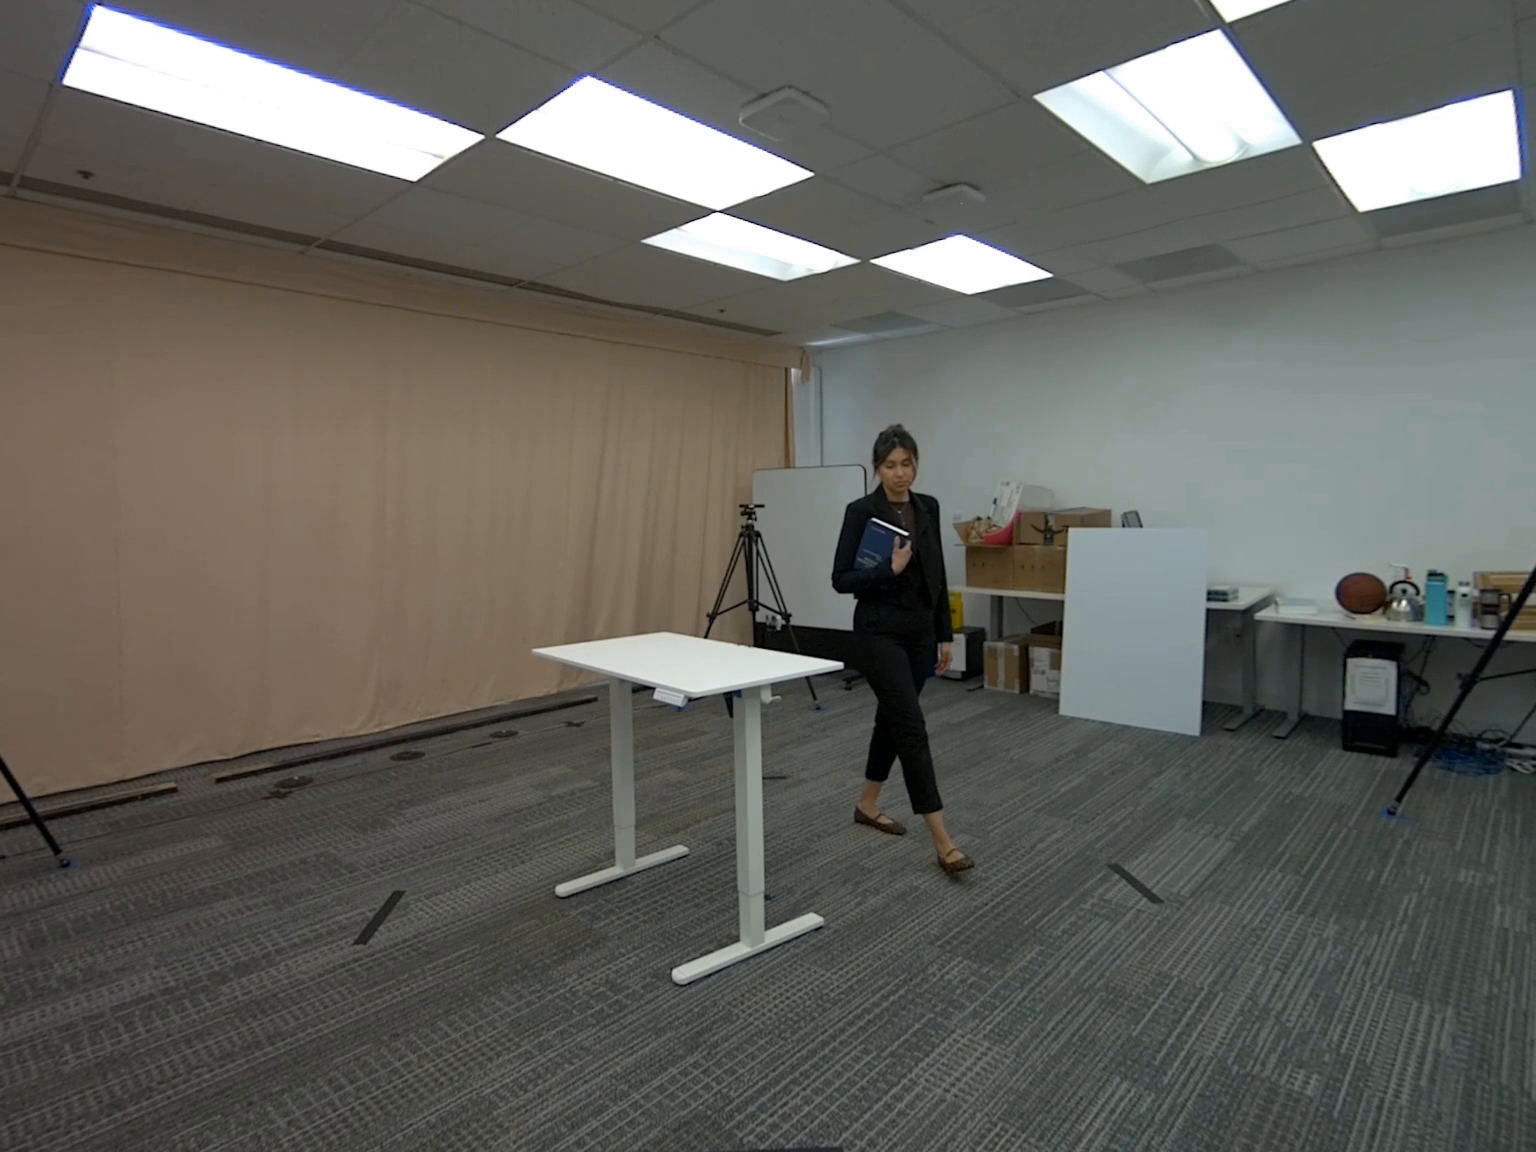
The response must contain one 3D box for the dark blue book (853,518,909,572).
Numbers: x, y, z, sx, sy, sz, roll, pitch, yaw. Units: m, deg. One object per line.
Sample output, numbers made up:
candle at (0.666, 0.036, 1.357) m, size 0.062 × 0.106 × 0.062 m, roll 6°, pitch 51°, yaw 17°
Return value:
dark blue book at (0.431, -0.085, 3.274) m, size 0.168 × 0.243 × 0.044 m, roll 27°, pitch 23°, yaw 24°
